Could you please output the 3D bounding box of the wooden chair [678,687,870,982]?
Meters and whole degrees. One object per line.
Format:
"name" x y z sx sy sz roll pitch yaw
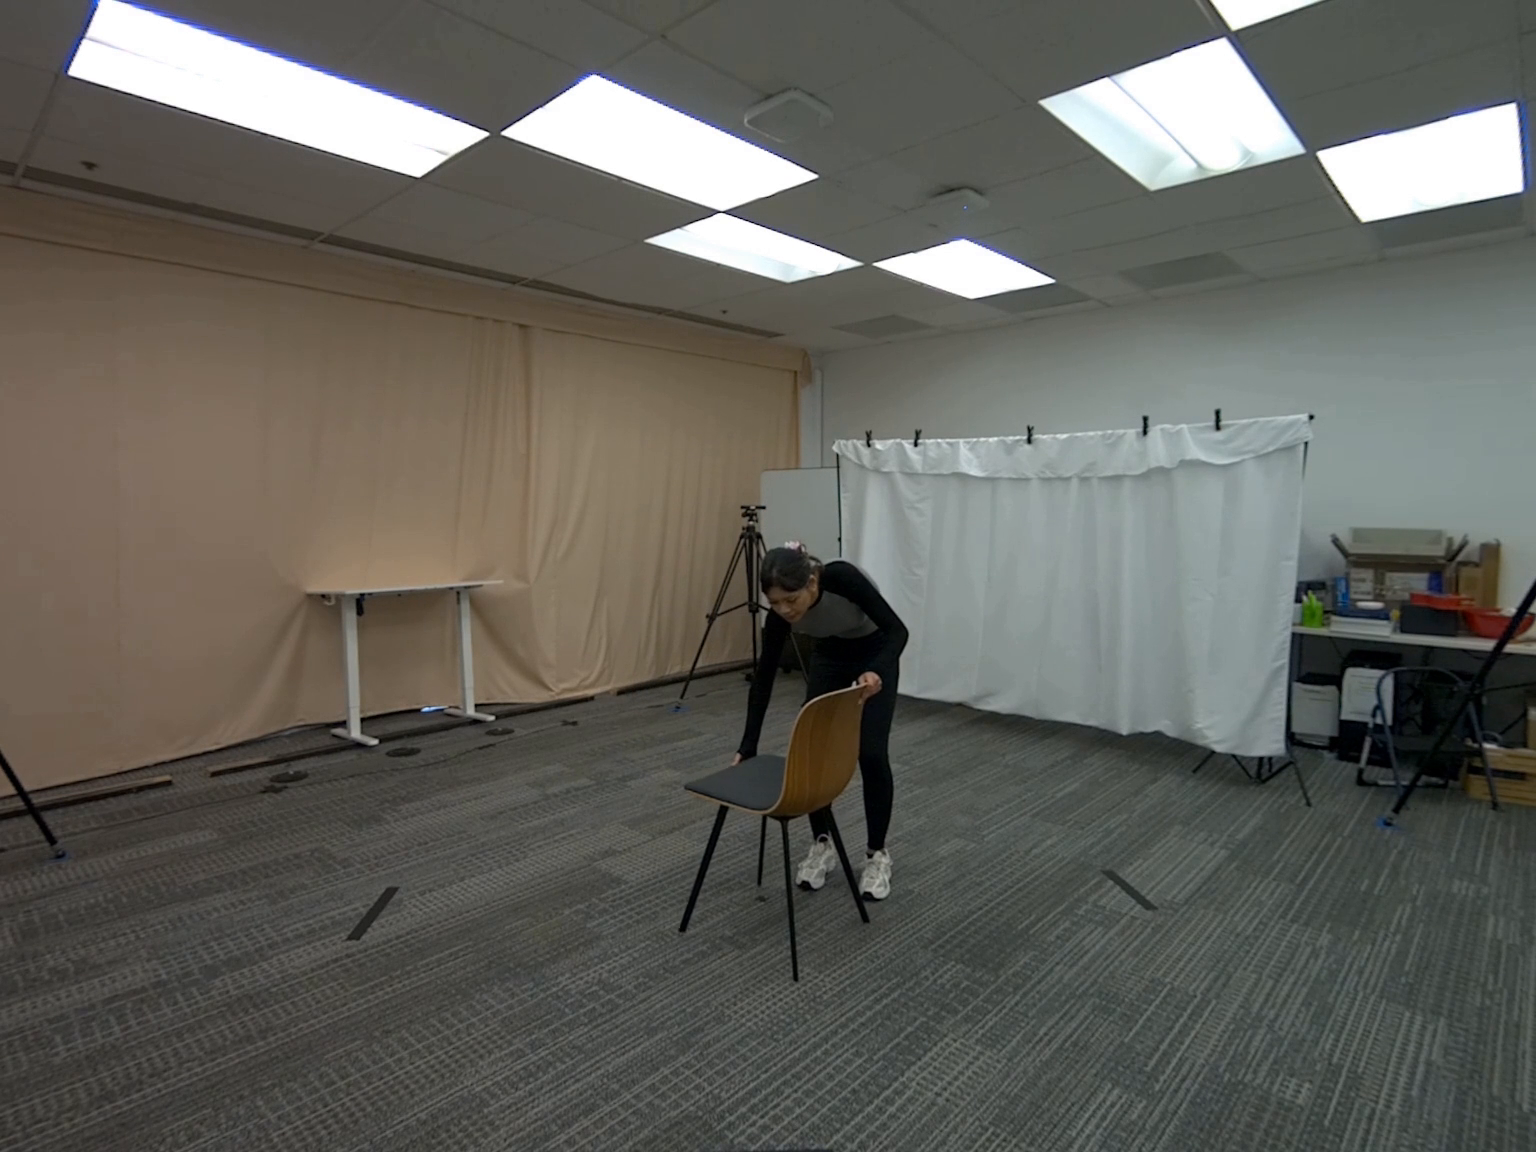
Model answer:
"wooden chair" 0.025 0.730 2.738 0.540 0.874 0.464 9 8 35
